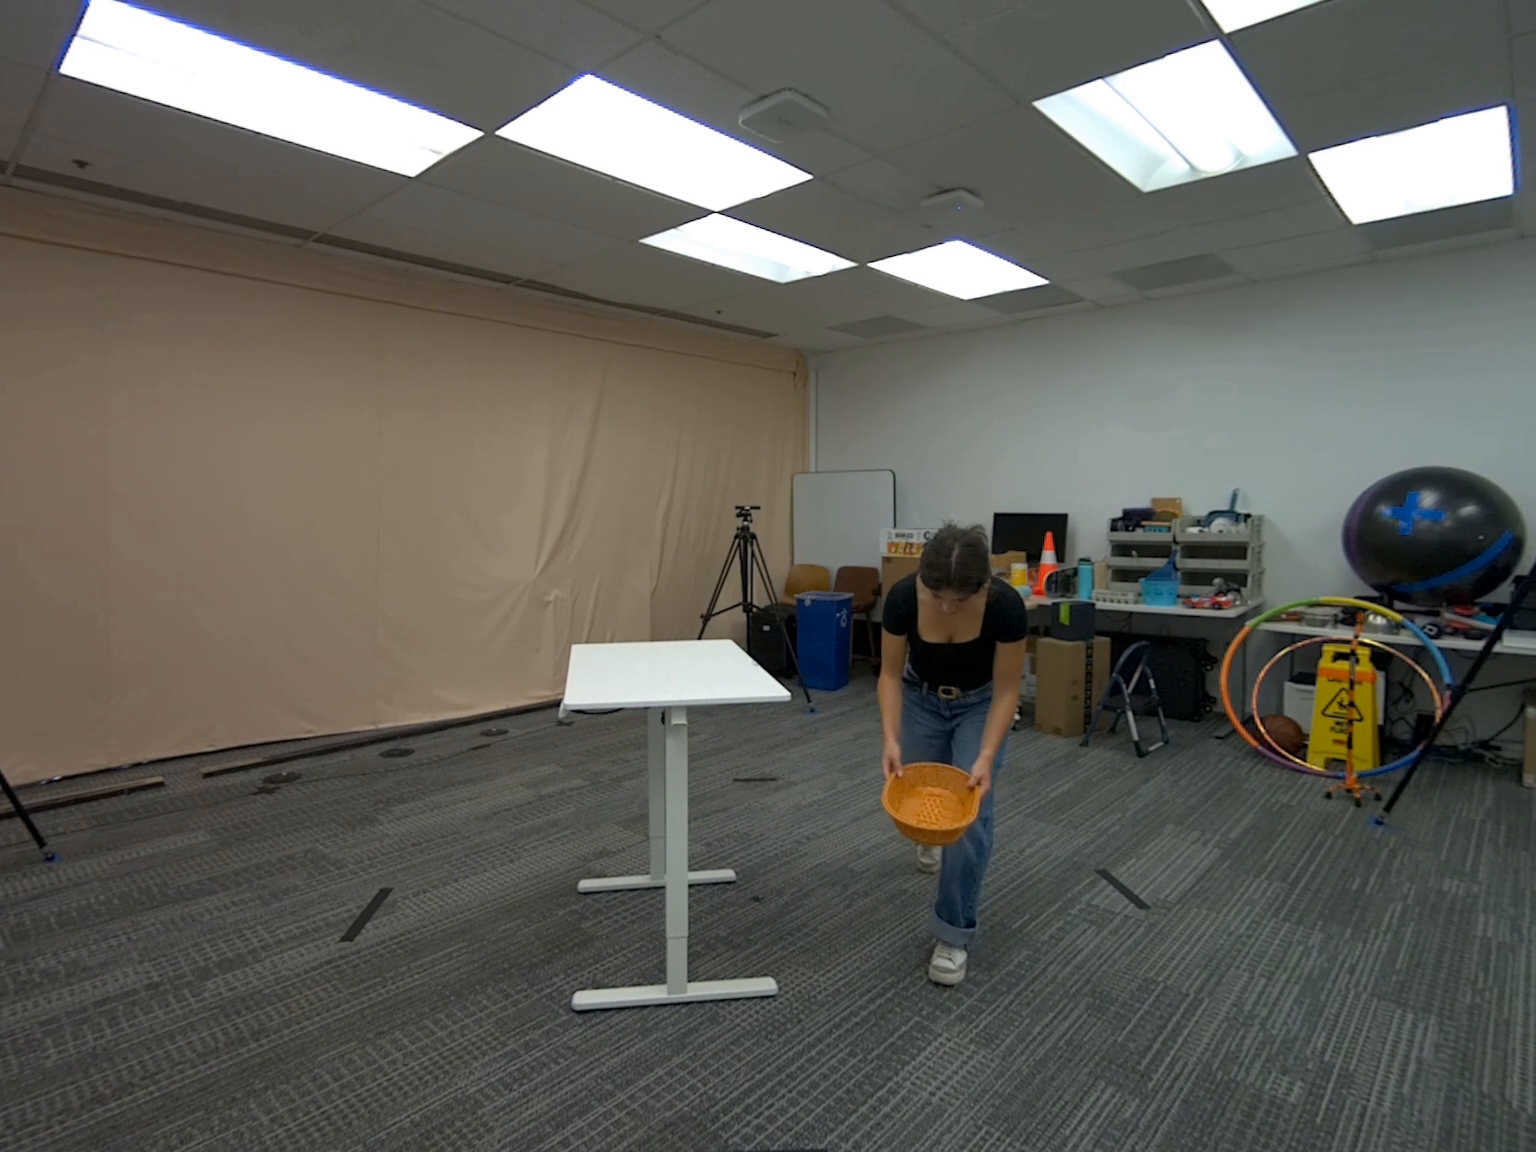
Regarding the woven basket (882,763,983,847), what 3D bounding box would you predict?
[{"bbox_3d":[0.444,0.615,2.272,0.257,0.073,0.347,4,16,17],"label":"woven basket"}]
